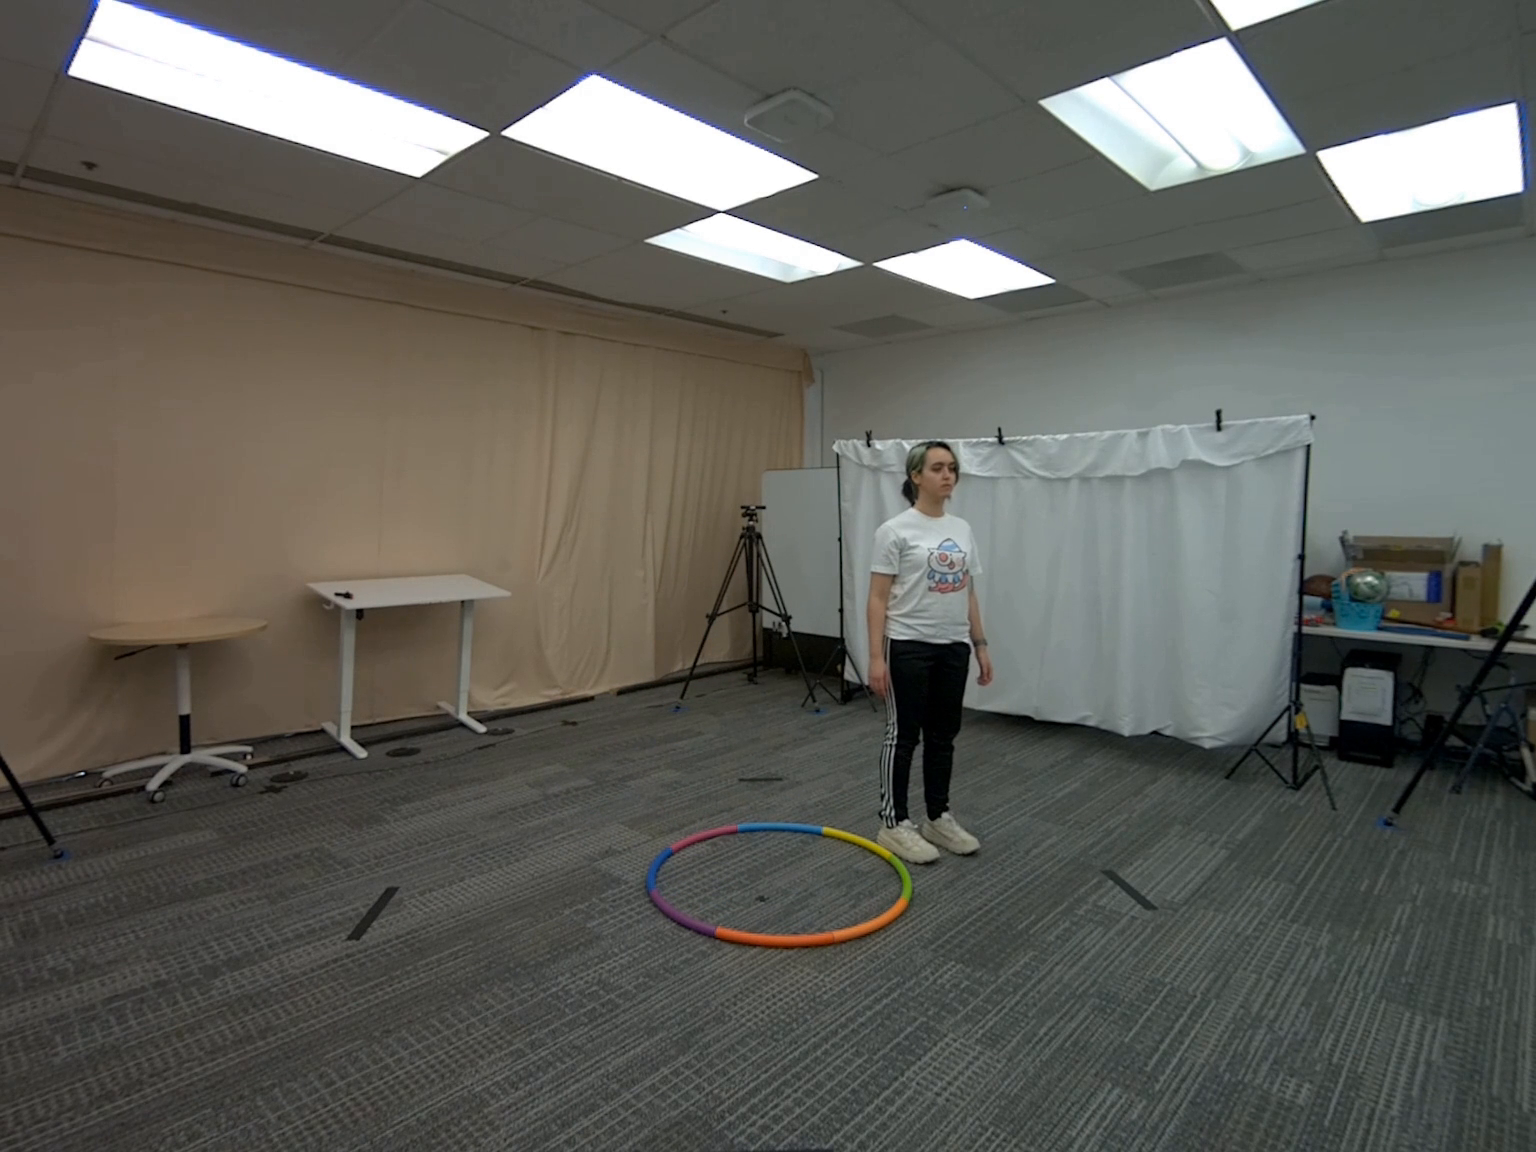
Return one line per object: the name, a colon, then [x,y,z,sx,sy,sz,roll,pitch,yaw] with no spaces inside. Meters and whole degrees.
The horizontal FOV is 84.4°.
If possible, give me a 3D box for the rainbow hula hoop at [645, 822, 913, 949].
rainbow hula hoop: [0.039,1.099,3.135,0.978,0.035,0.982,-1,5,-2]
